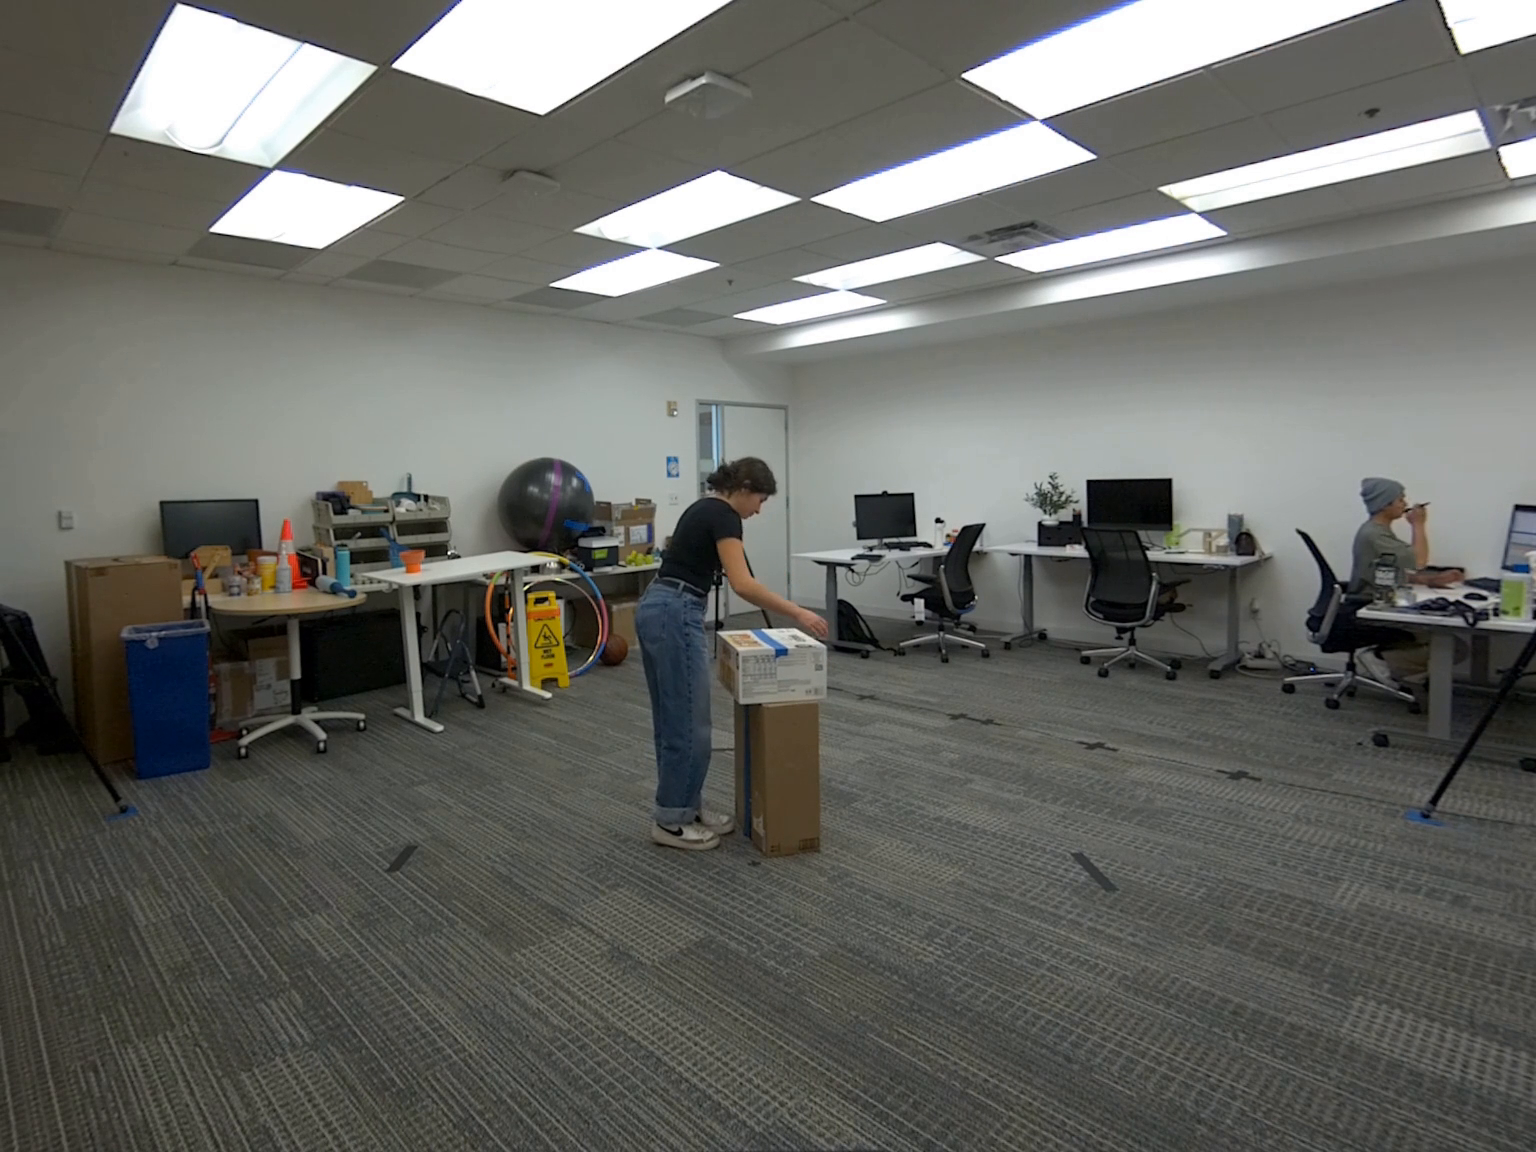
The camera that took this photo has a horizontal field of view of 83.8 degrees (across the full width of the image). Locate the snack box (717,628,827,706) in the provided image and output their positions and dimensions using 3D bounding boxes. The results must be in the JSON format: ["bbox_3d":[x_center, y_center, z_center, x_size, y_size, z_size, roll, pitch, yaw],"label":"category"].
[{"bbox_3d":[0.001,0.346,3.357,0.336,0.205,0.412,-2,6,-14],"label":"snack box"}]
